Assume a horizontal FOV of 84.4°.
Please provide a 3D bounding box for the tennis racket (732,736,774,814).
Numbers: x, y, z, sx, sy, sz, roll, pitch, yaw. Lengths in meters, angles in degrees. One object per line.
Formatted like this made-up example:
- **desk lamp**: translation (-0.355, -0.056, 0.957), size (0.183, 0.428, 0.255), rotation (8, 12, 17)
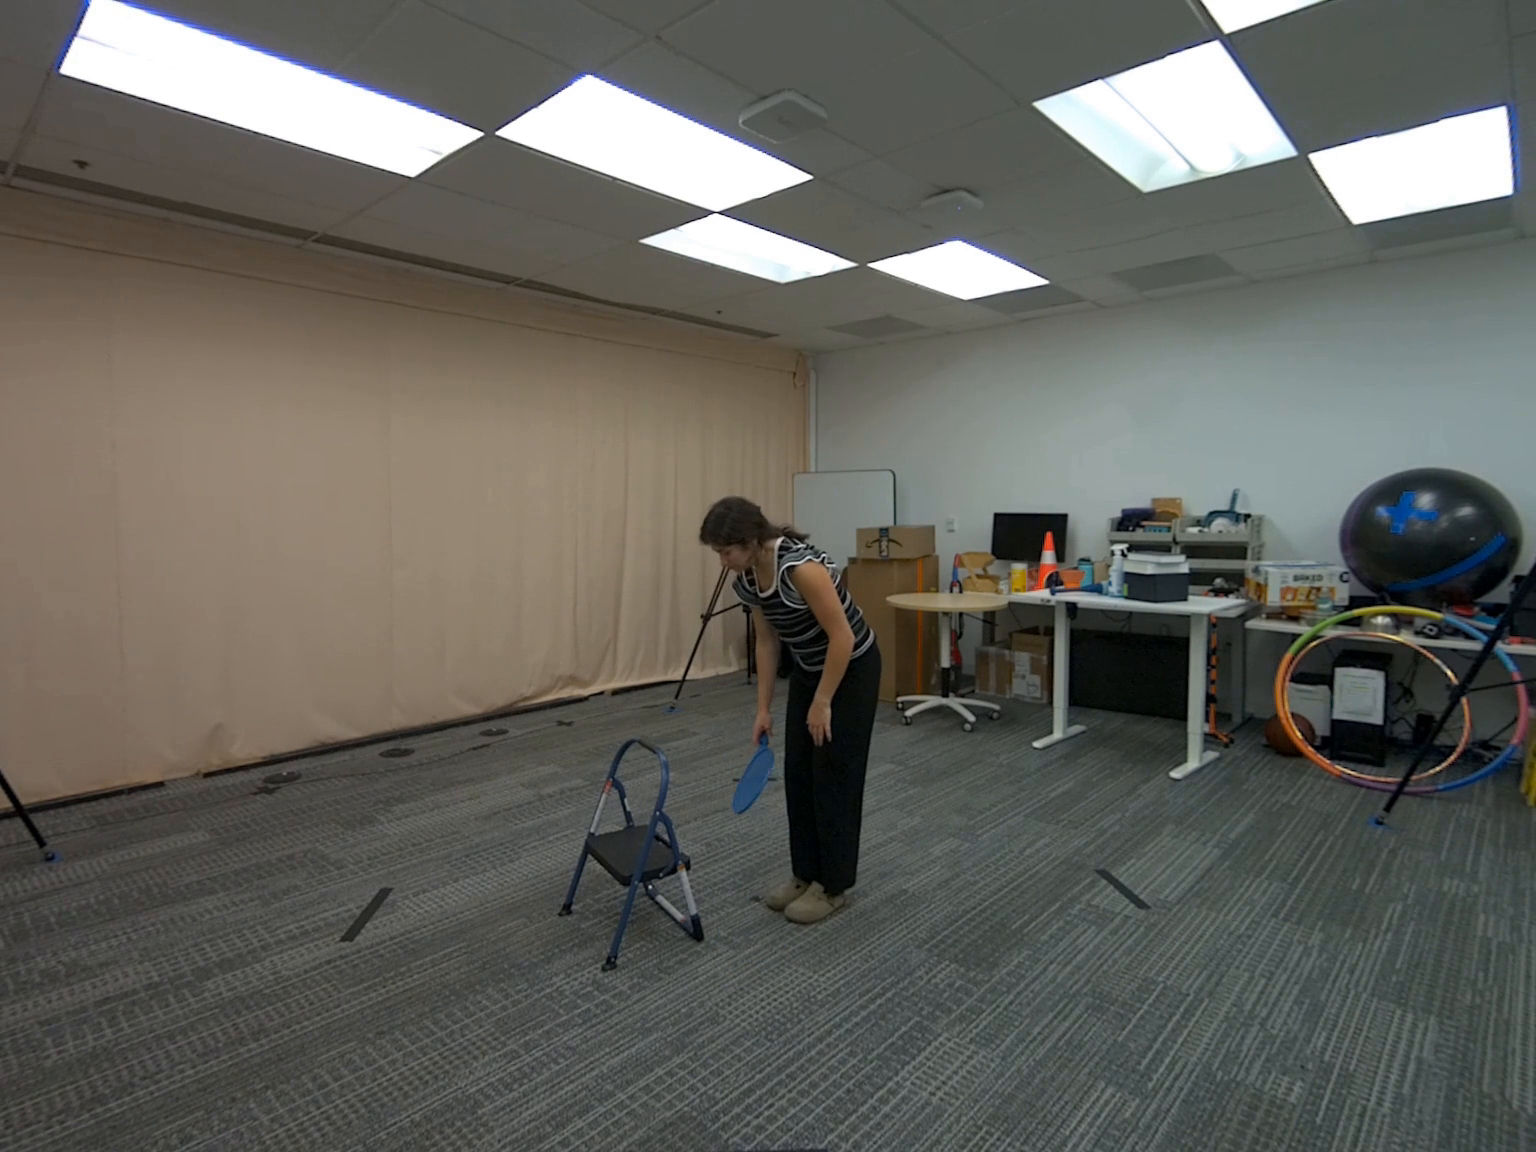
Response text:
- **tennis racket**: translation (-0.026, 0.661, 2.906), size (0.031, 0.215, 0.436), rotation (36, 31, -15)
